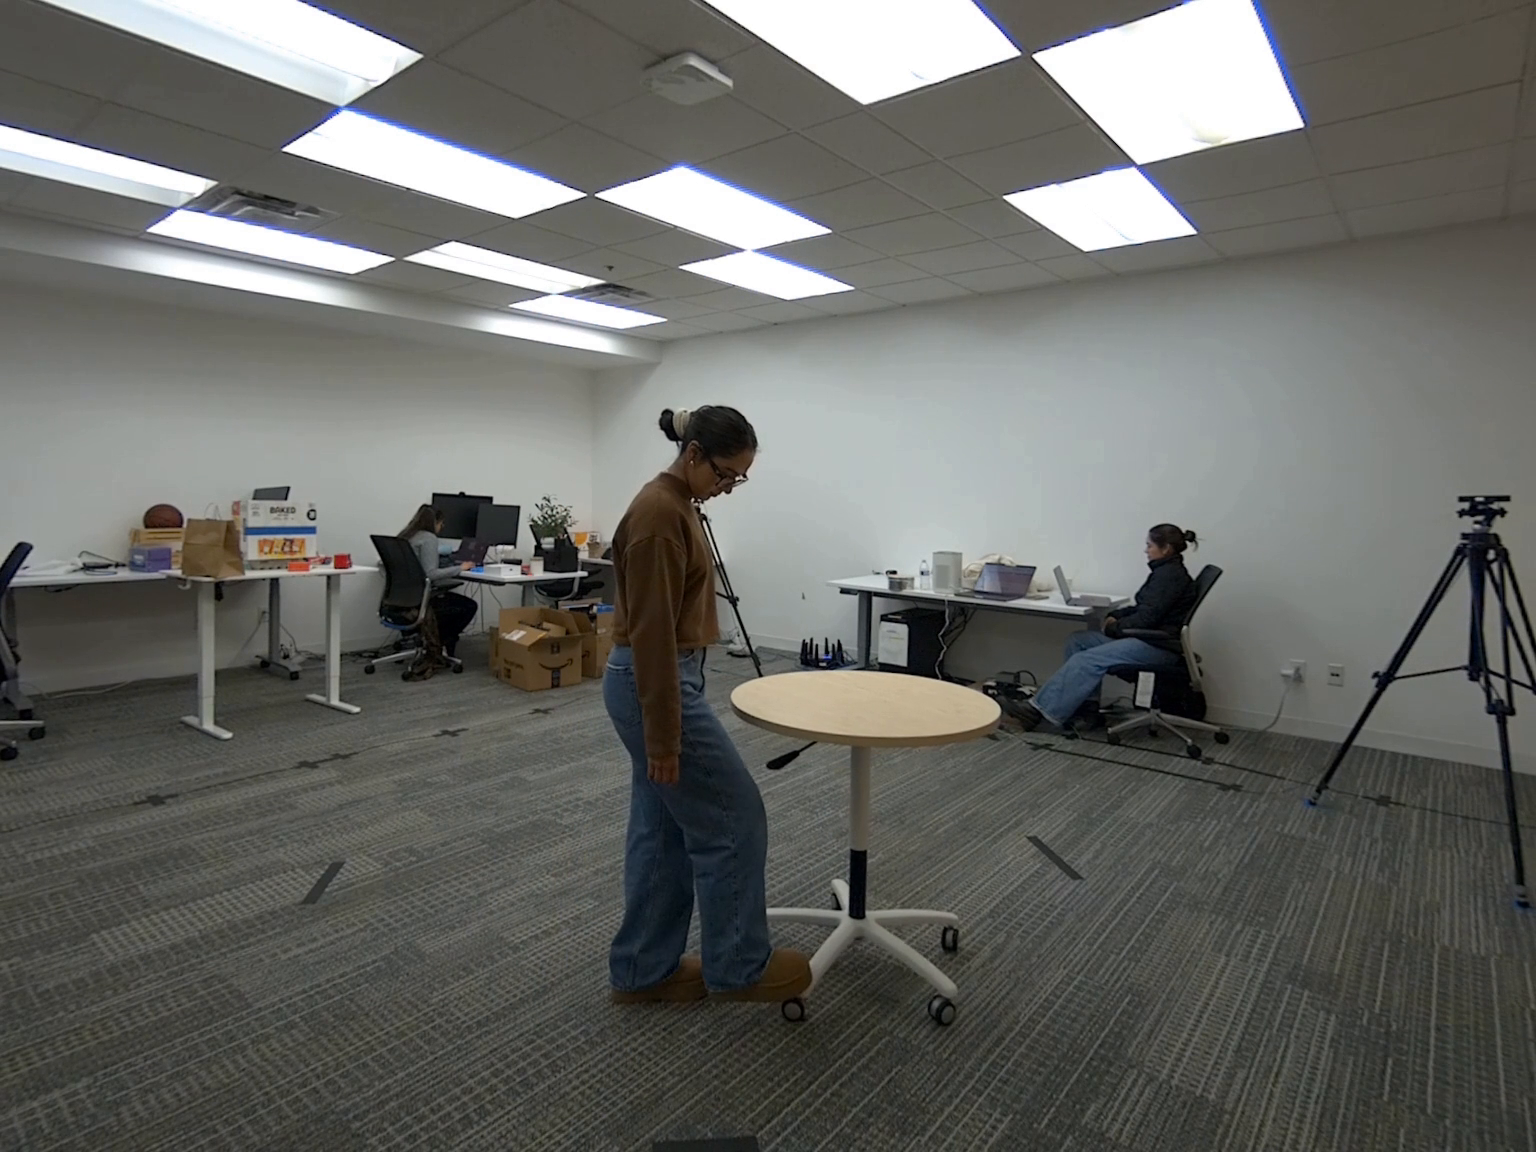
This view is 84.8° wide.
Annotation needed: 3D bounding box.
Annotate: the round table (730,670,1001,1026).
[{"bbox_3d":[0.262,0.745,2.491,0.763,0.791,0.768,1,4,-2],"label":"round table"}]
